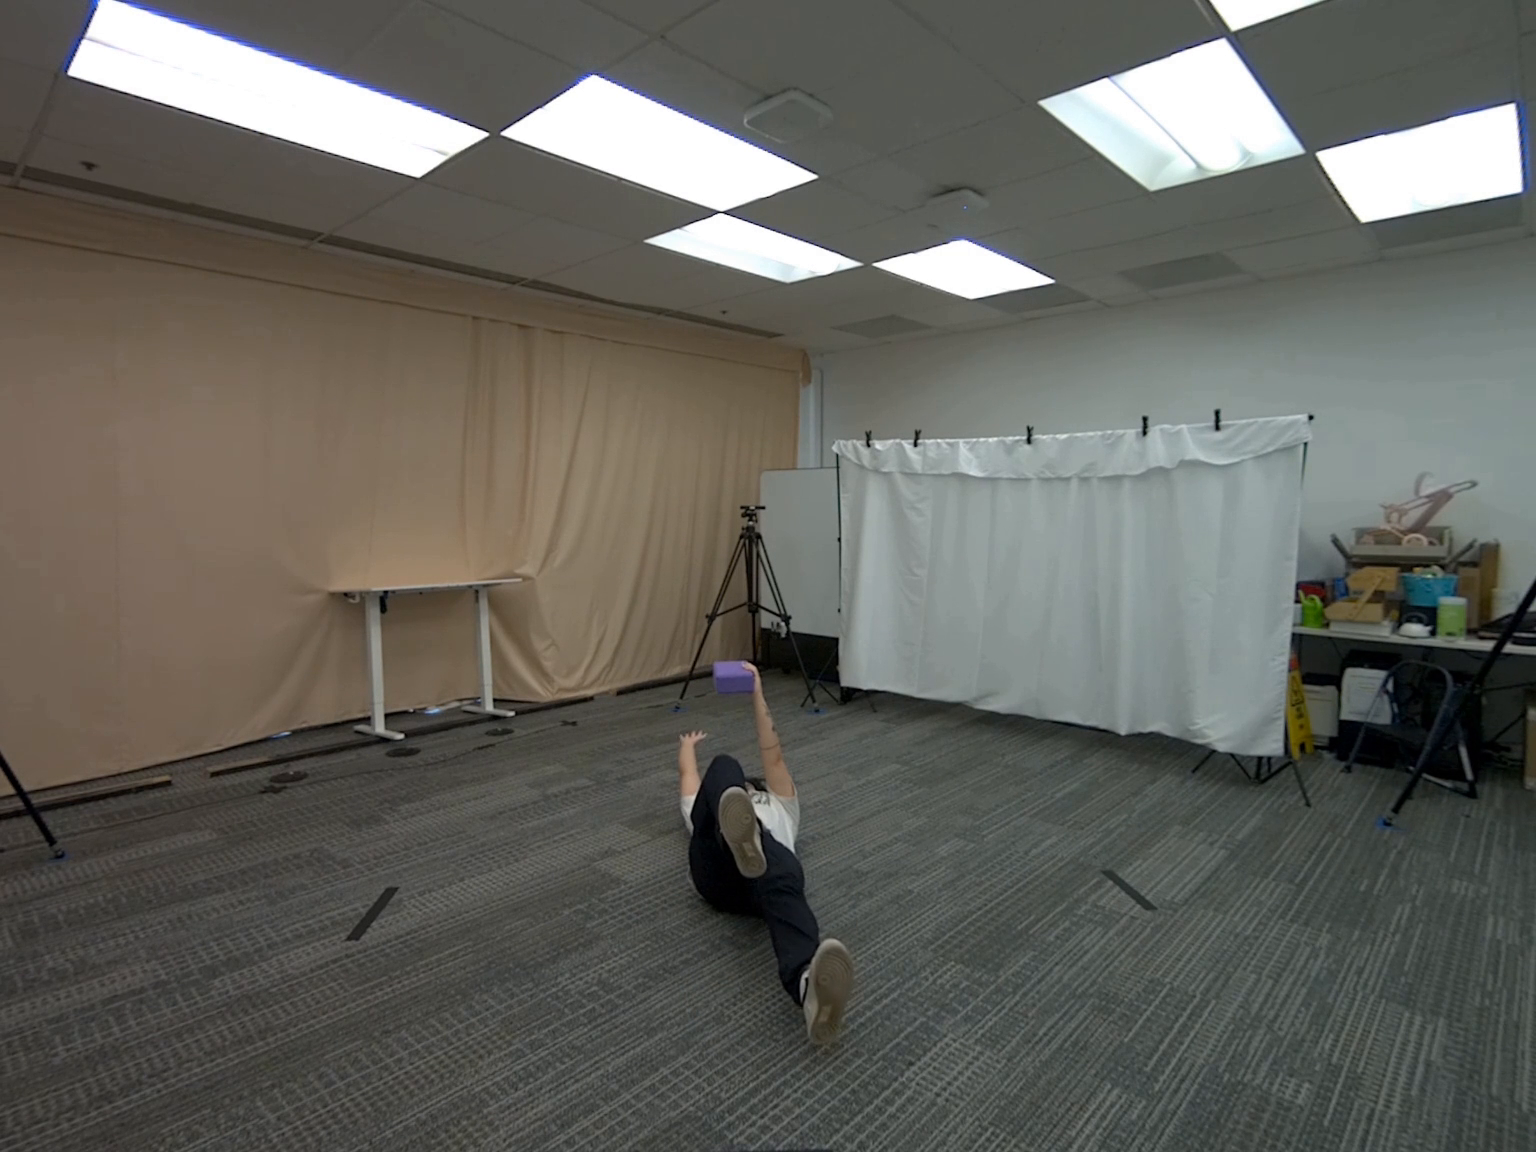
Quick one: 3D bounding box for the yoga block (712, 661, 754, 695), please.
[{"bbox_3d":[-0.136,0.408,3.418,0.148,0.076,0.231,-1,9,-4],"label":"yoga block"}]
